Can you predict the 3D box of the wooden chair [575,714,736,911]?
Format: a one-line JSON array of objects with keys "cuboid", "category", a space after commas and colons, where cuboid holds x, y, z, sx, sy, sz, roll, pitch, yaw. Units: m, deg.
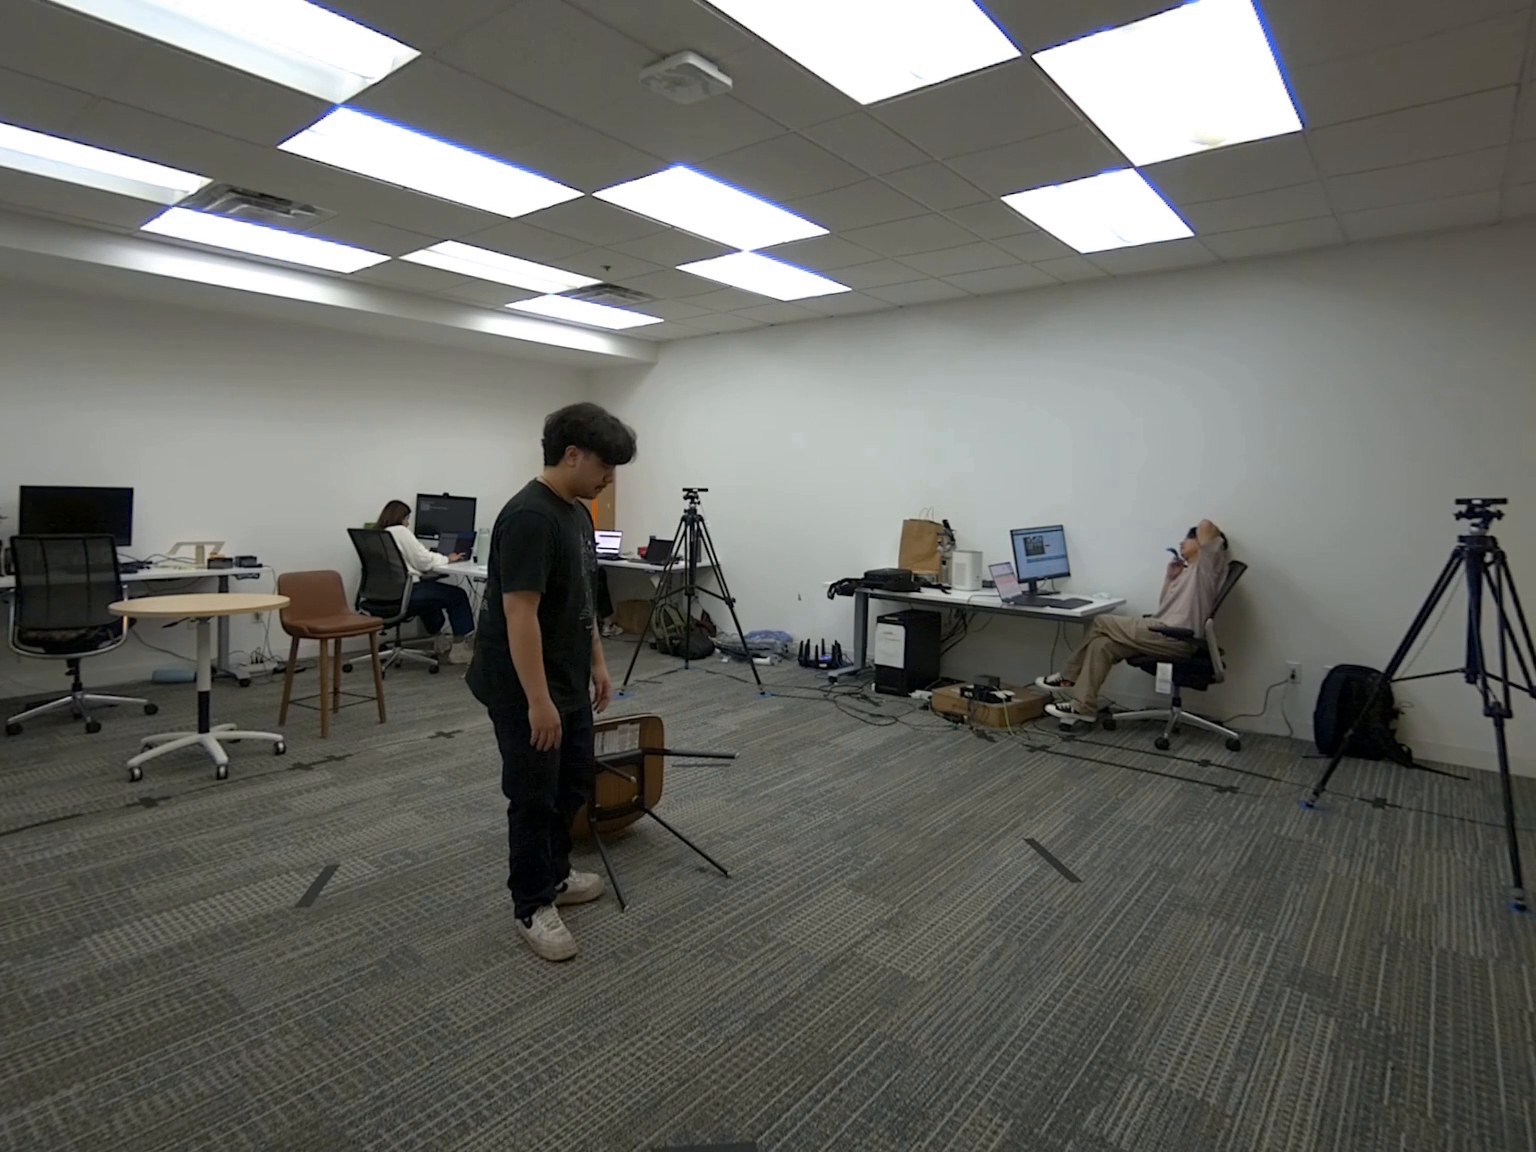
[{"cuboid": [-0.575, 0.796, 3.223, 0.464, 0.522, 0.907, -2, 5, -39], "category": "wooden chair"}]
